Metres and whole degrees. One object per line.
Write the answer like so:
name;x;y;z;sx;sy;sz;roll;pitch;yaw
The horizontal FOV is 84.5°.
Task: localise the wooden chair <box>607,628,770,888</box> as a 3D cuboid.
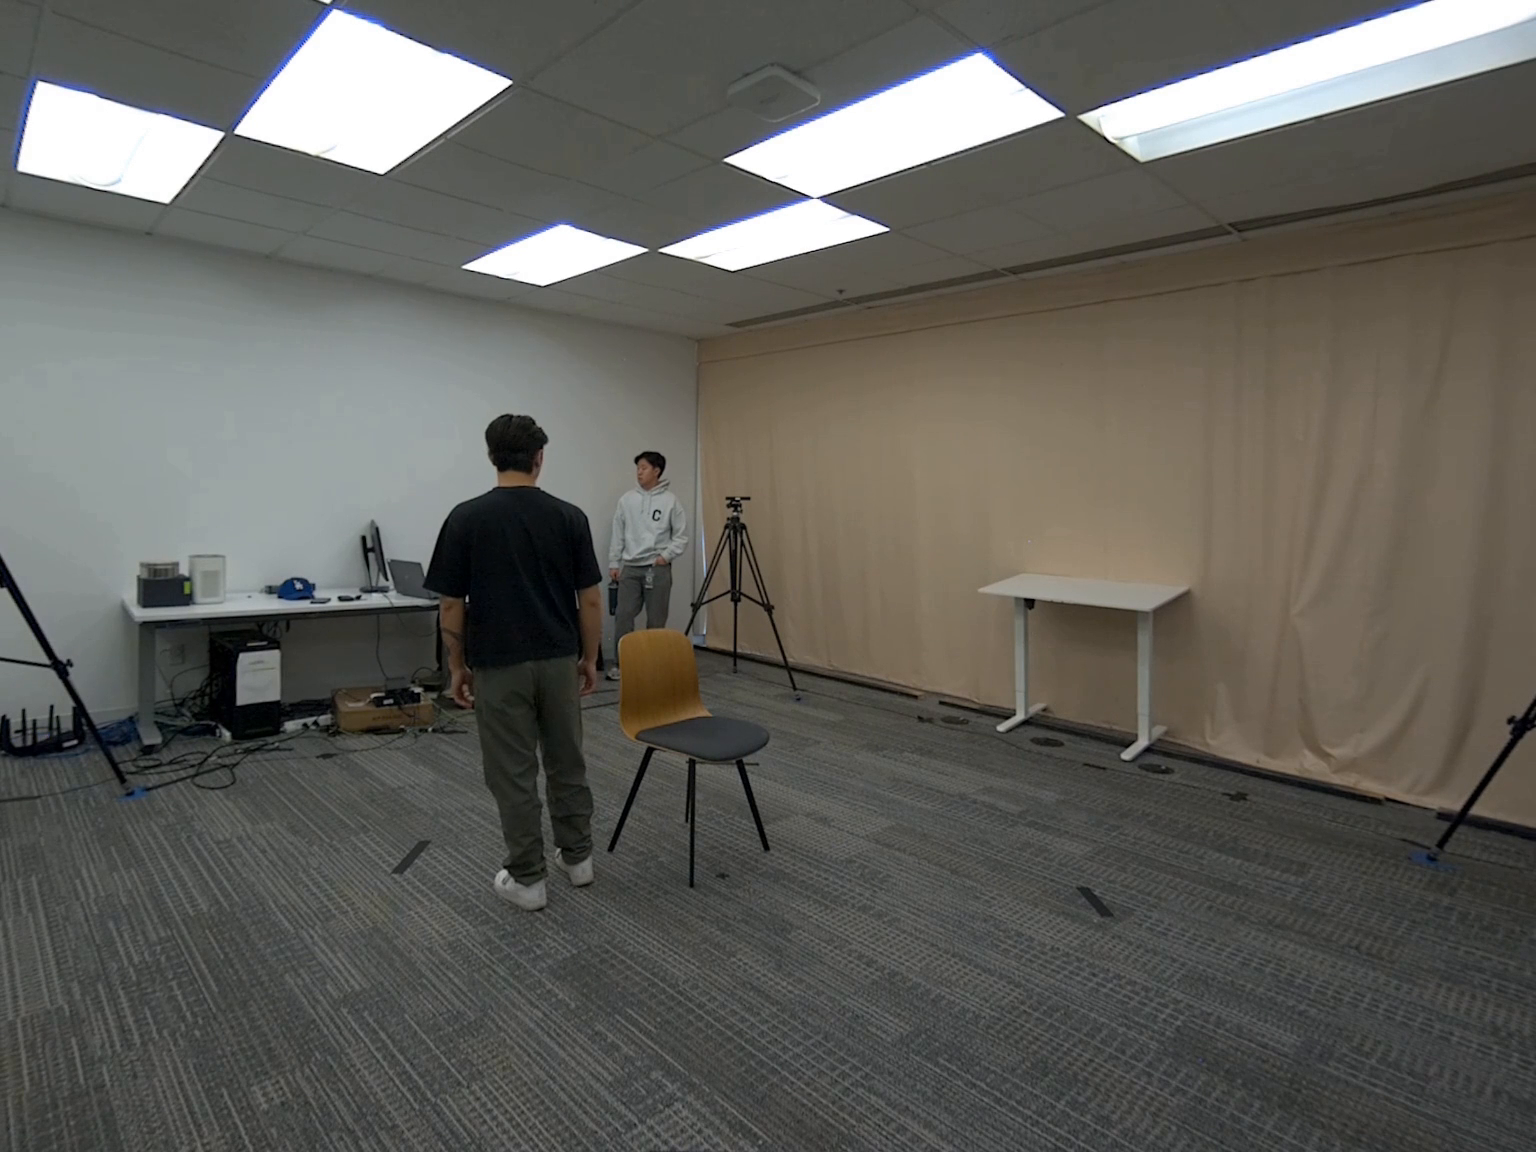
wooden chair;-0.297;0.659;3.279;0.535;0.877;0.467;-1;0;39
